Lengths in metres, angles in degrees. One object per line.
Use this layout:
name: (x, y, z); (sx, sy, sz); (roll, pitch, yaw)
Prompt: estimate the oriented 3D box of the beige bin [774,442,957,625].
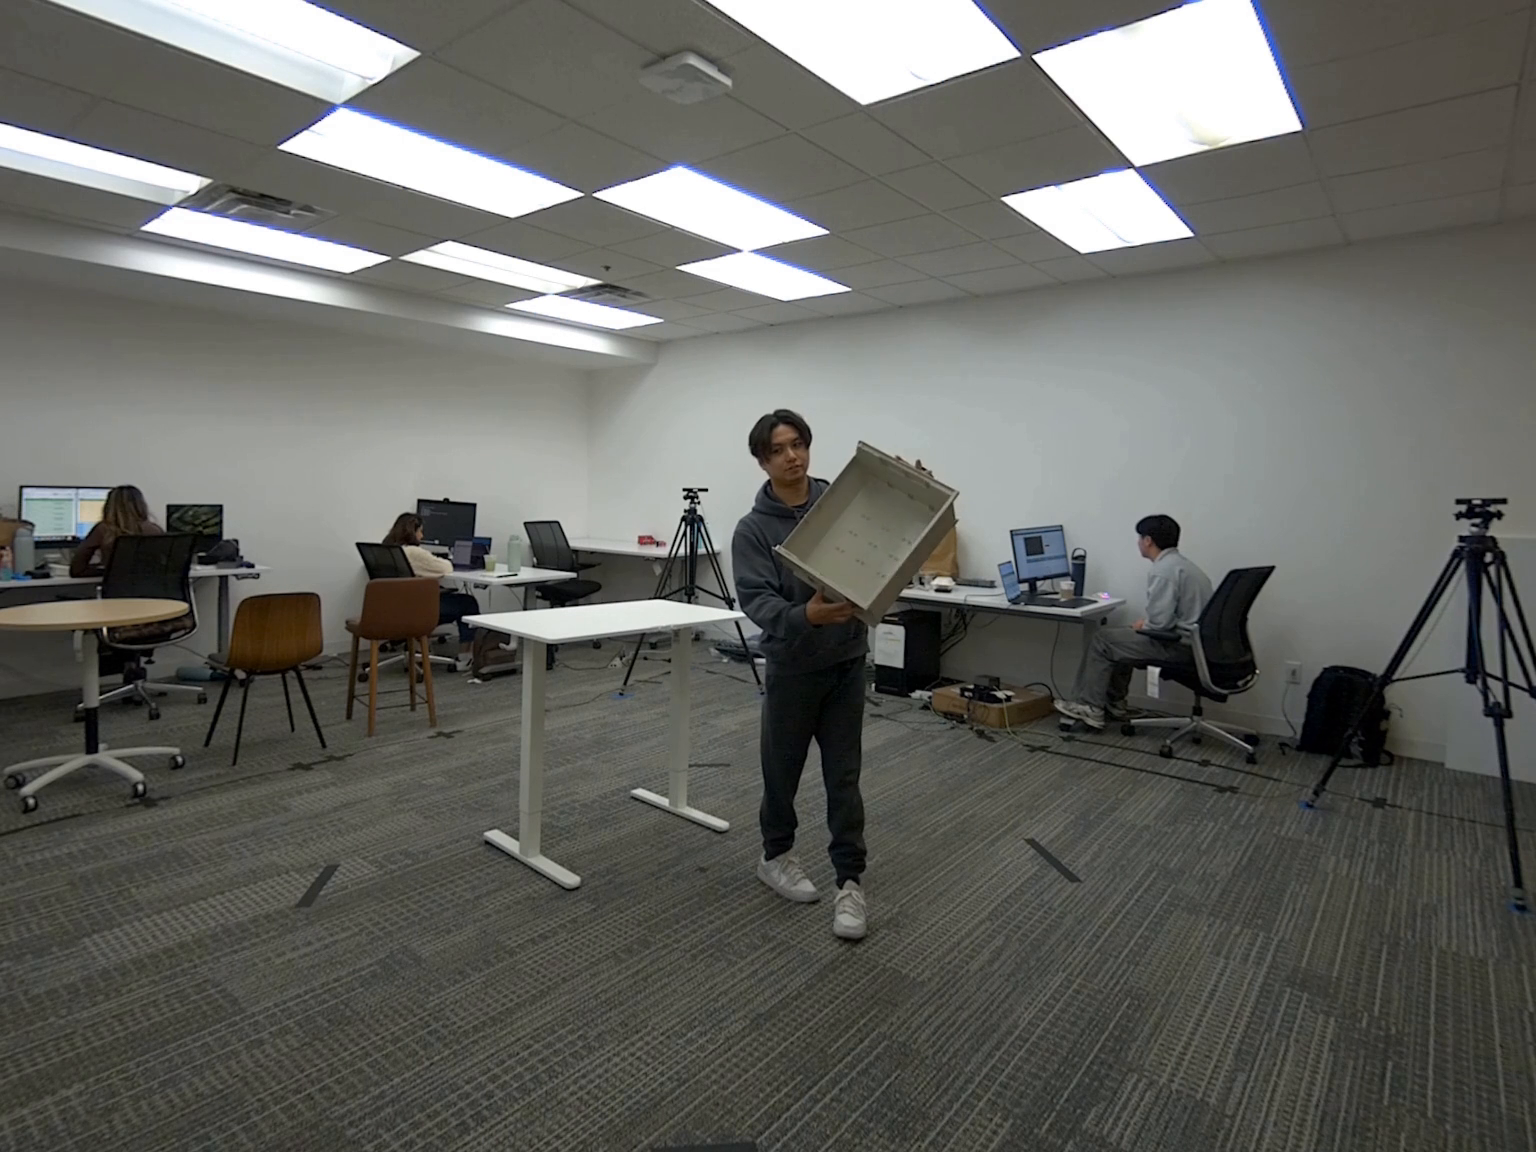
beige bin: (0.270, -0.135, 2.479); (0.391, 0.422, 0.182); (34, -11, 29)
